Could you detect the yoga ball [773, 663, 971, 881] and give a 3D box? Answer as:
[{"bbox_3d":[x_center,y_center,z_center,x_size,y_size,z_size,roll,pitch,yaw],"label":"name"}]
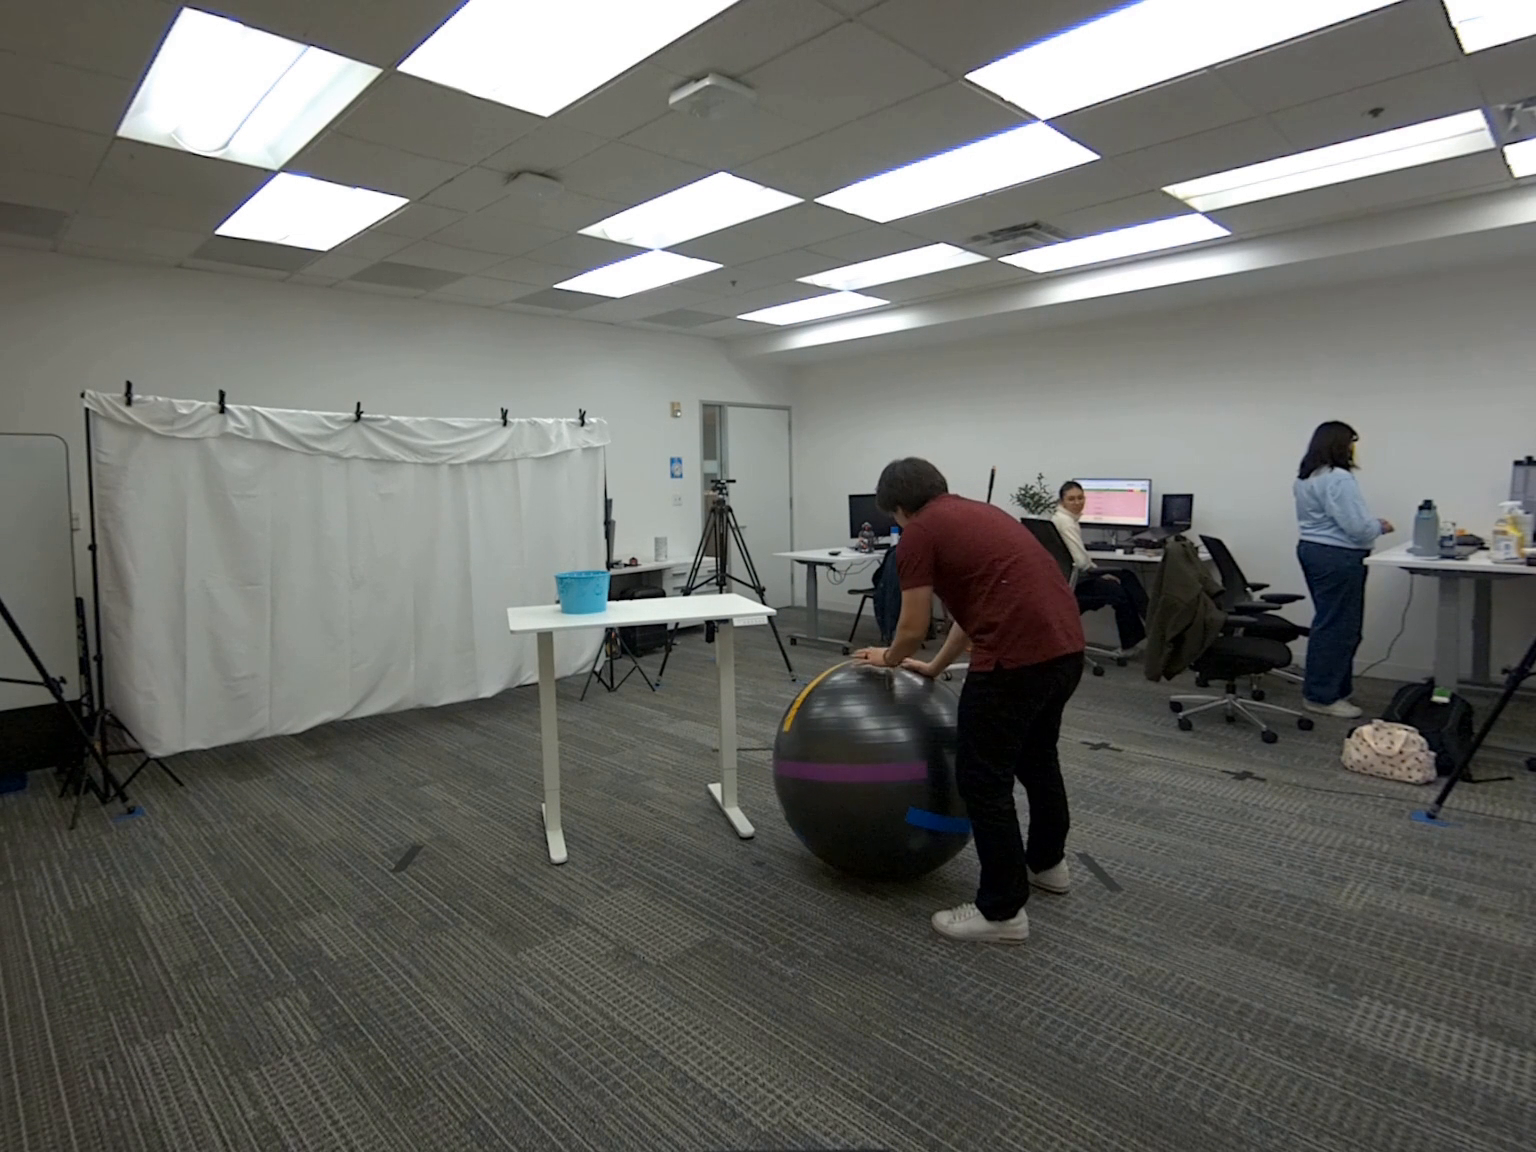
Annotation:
[{"bbox_3d":[0.406,0.688,3.051,0.757,0.755,0.762,-1,5,-2],"label":"yoga ball"}]
